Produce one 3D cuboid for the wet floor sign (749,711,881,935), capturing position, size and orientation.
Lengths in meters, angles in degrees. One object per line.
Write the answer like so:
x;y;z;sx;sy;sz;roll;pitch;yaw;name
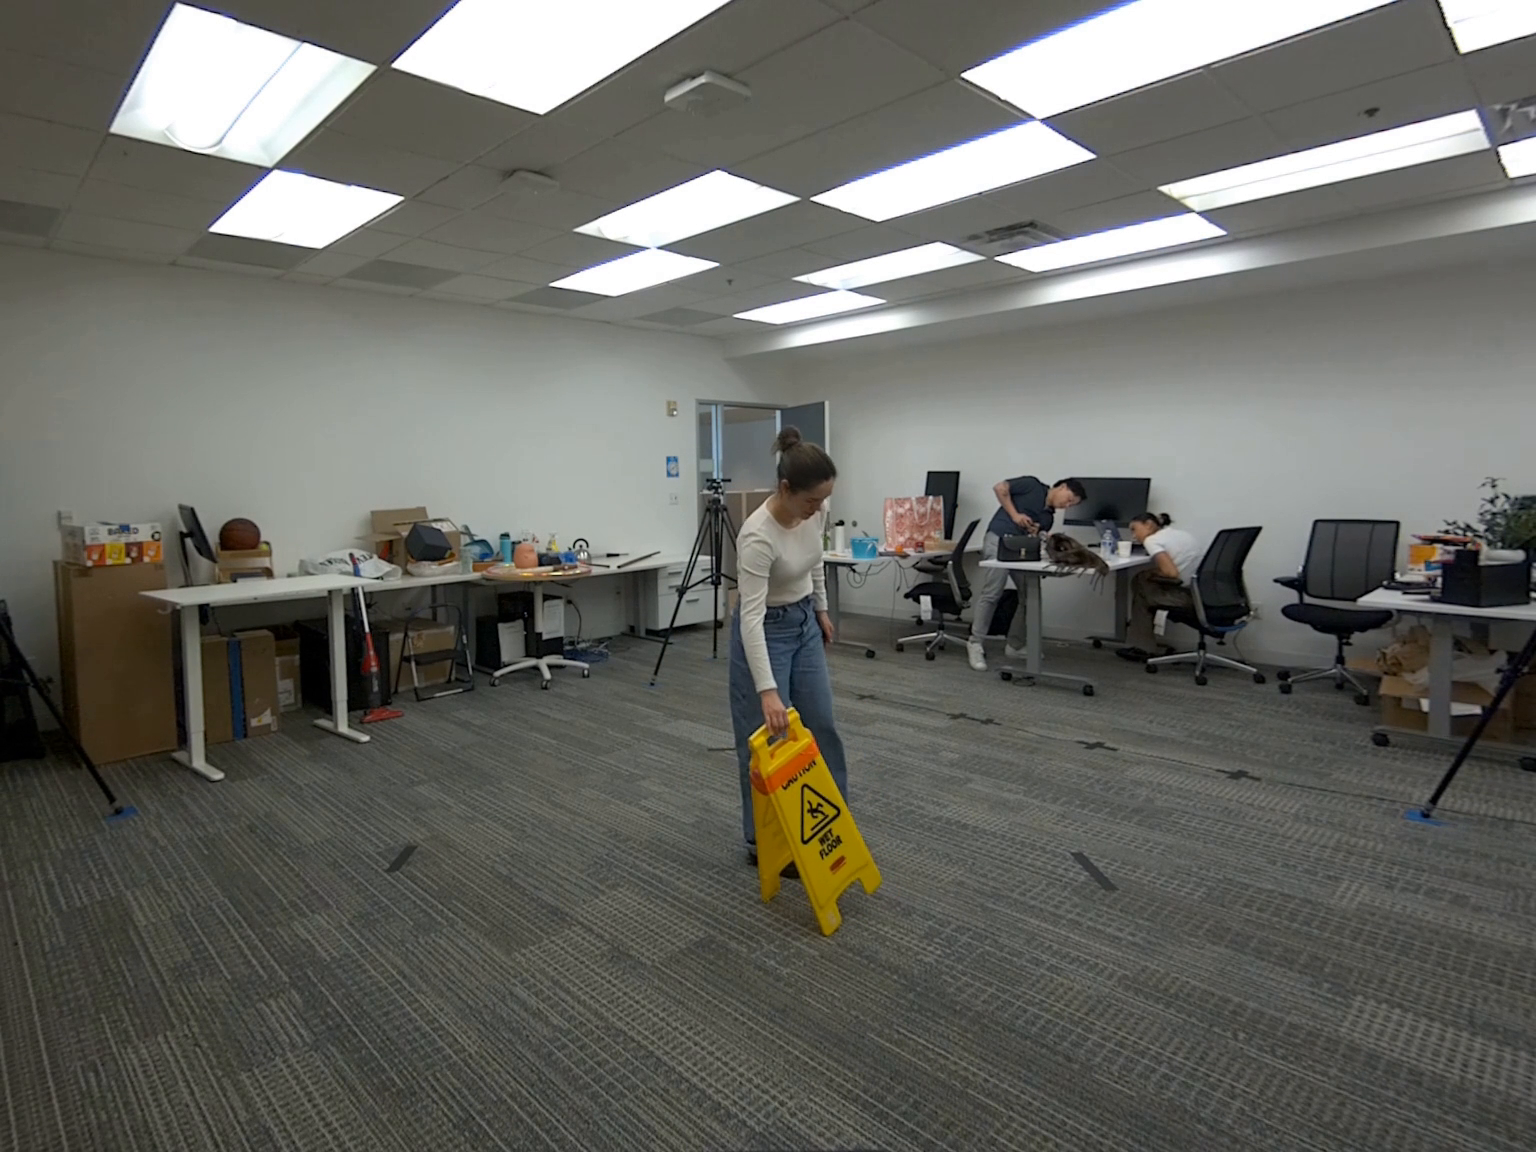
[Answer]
0.093;0.747;2.710;0.279;0.635;0.298;-28;20;-36;wet floor sign
